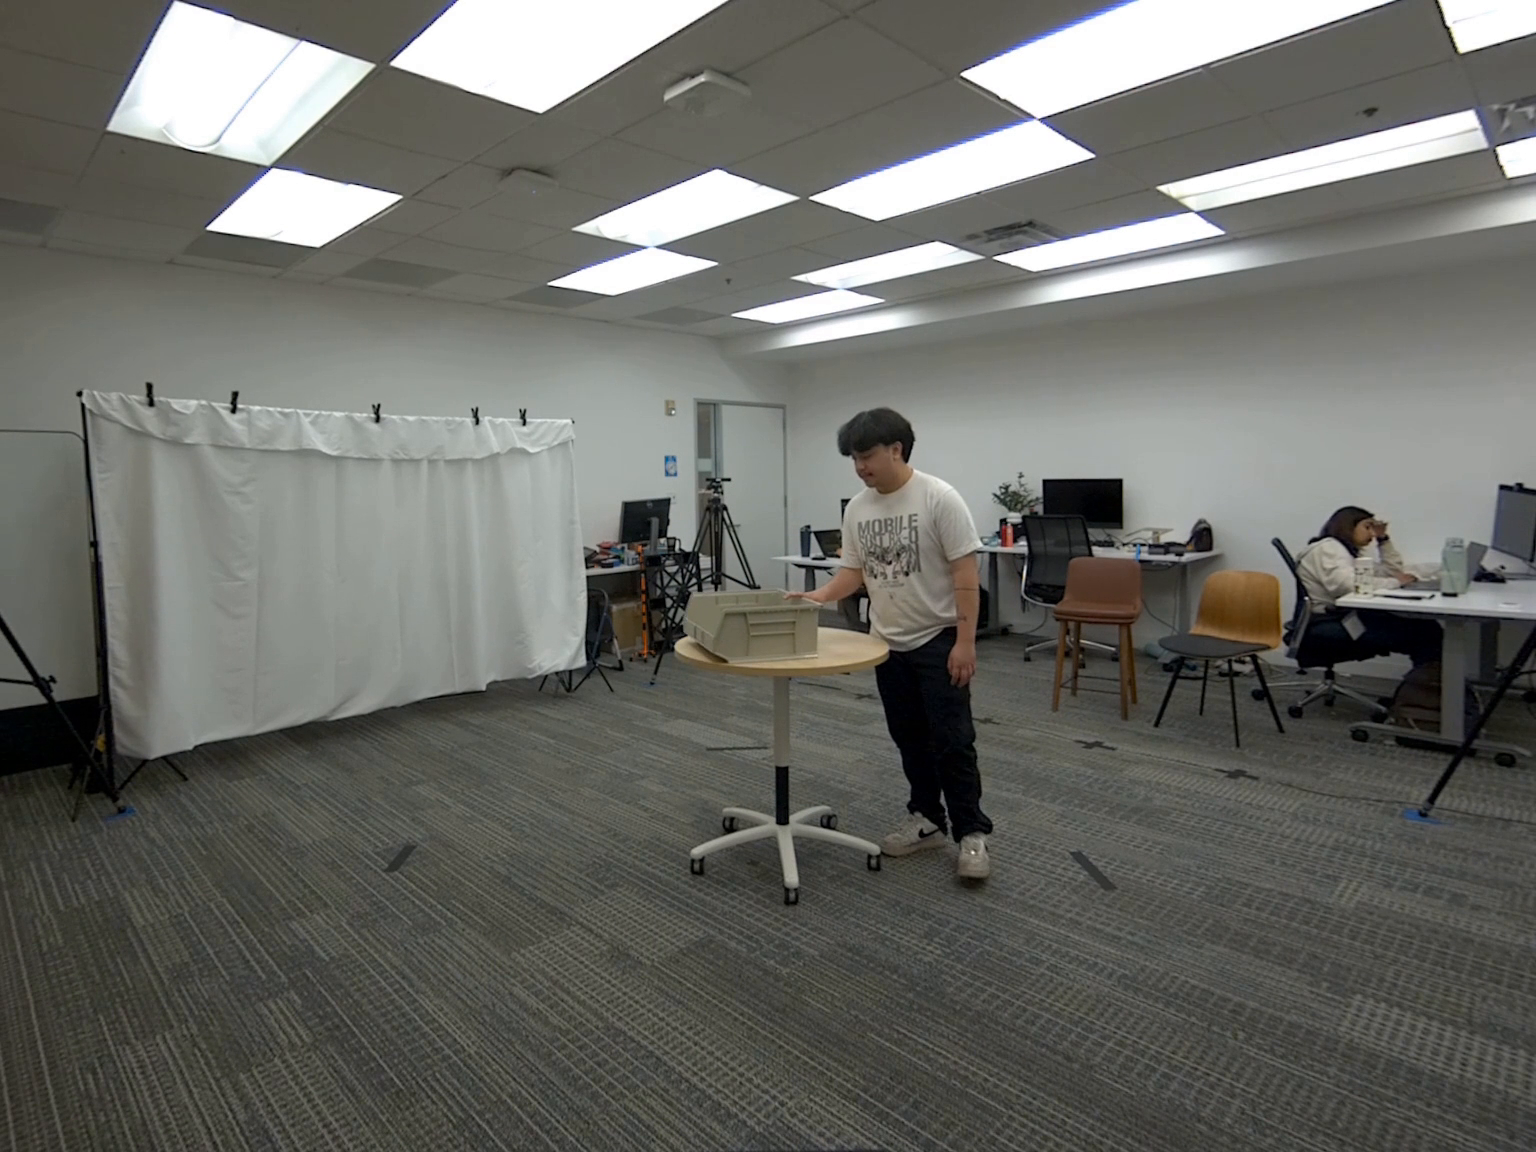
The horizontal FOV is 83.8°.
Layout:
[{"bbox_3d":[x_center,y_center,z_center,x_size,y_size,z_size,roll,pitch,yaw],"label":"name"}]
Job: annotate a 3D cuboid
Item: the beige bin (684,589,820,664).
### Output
[{"bbox_3d":[-0.060,0.170,2.973,0.371,0.188,0.431,-1,5,-18],"label":"beige bin"}]
